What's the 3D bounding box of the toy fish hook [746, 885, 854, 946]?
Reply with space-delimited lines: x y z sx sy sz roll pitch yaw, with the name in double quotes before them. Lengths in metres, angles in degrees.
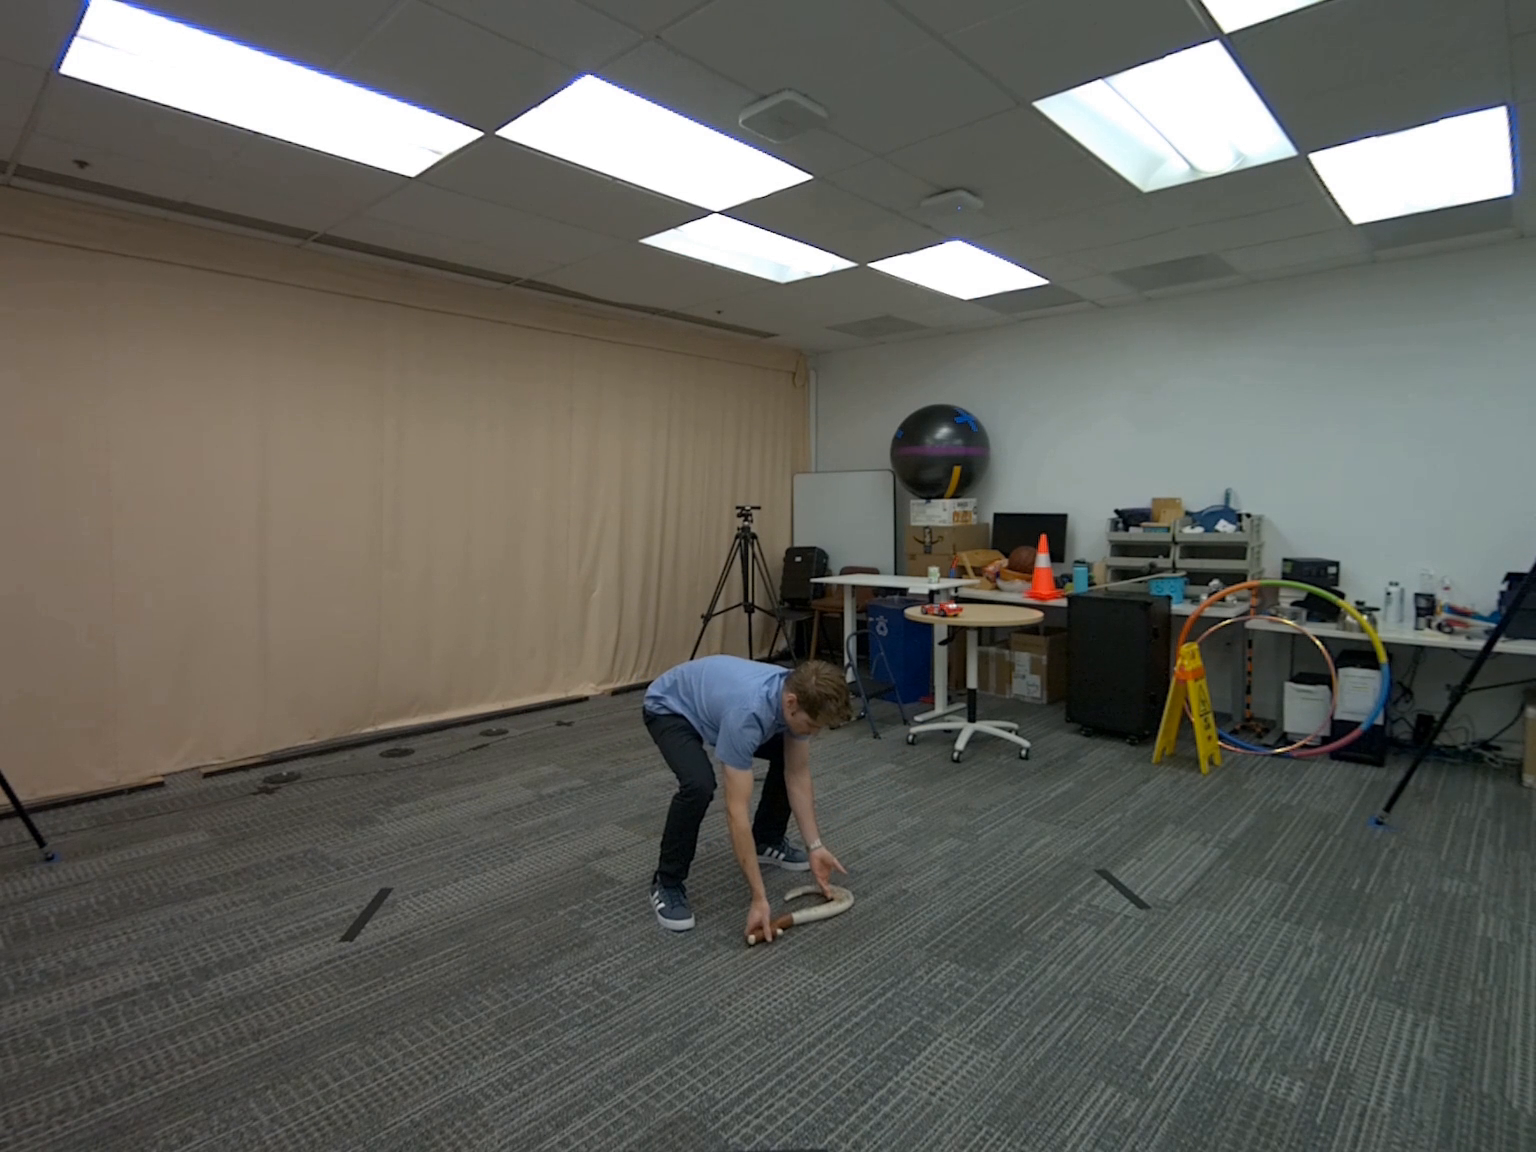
"toy fish hook" 0.083 1.141 2.856 0.491 0.048 0.231 -3 -2 -42
